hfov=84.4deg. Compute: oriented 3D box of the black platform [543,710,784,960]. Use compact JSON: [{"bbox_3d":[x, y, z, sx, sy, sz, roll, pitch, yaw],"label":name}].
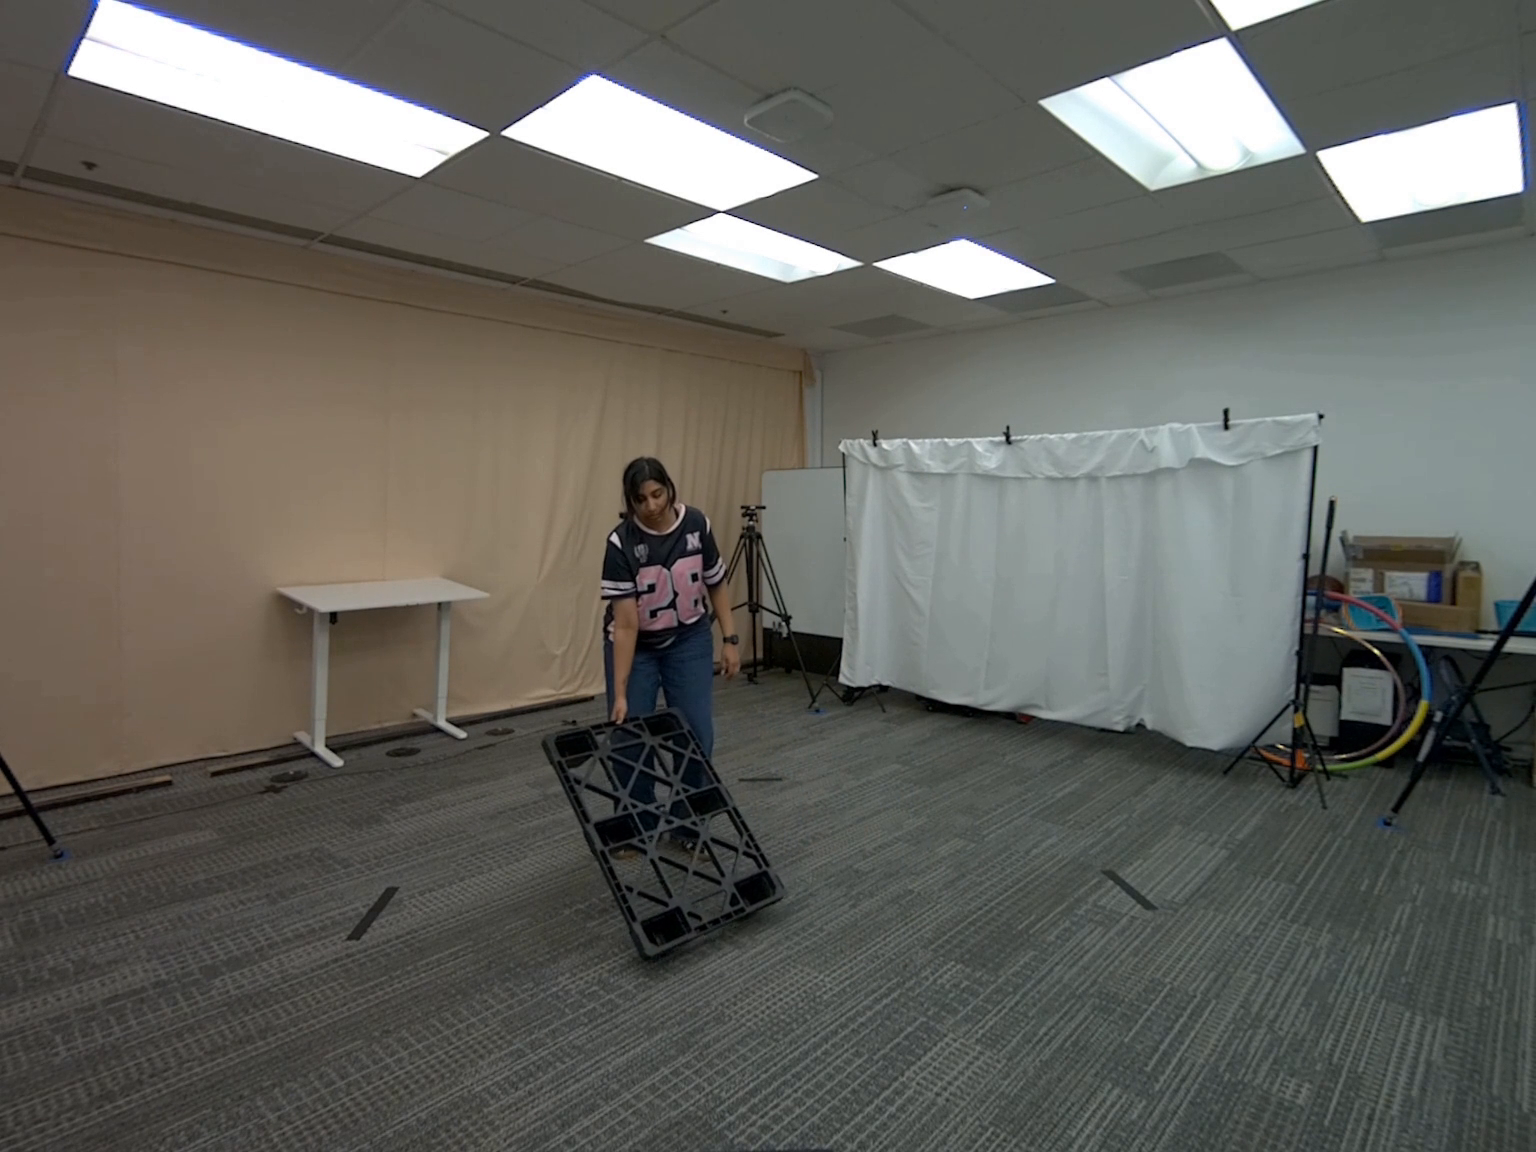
[{"bbox_3d":[-0.377,0.857,2.892,0.587,0.143,0.829,-5,48,-43],"label":"black platform"}]
